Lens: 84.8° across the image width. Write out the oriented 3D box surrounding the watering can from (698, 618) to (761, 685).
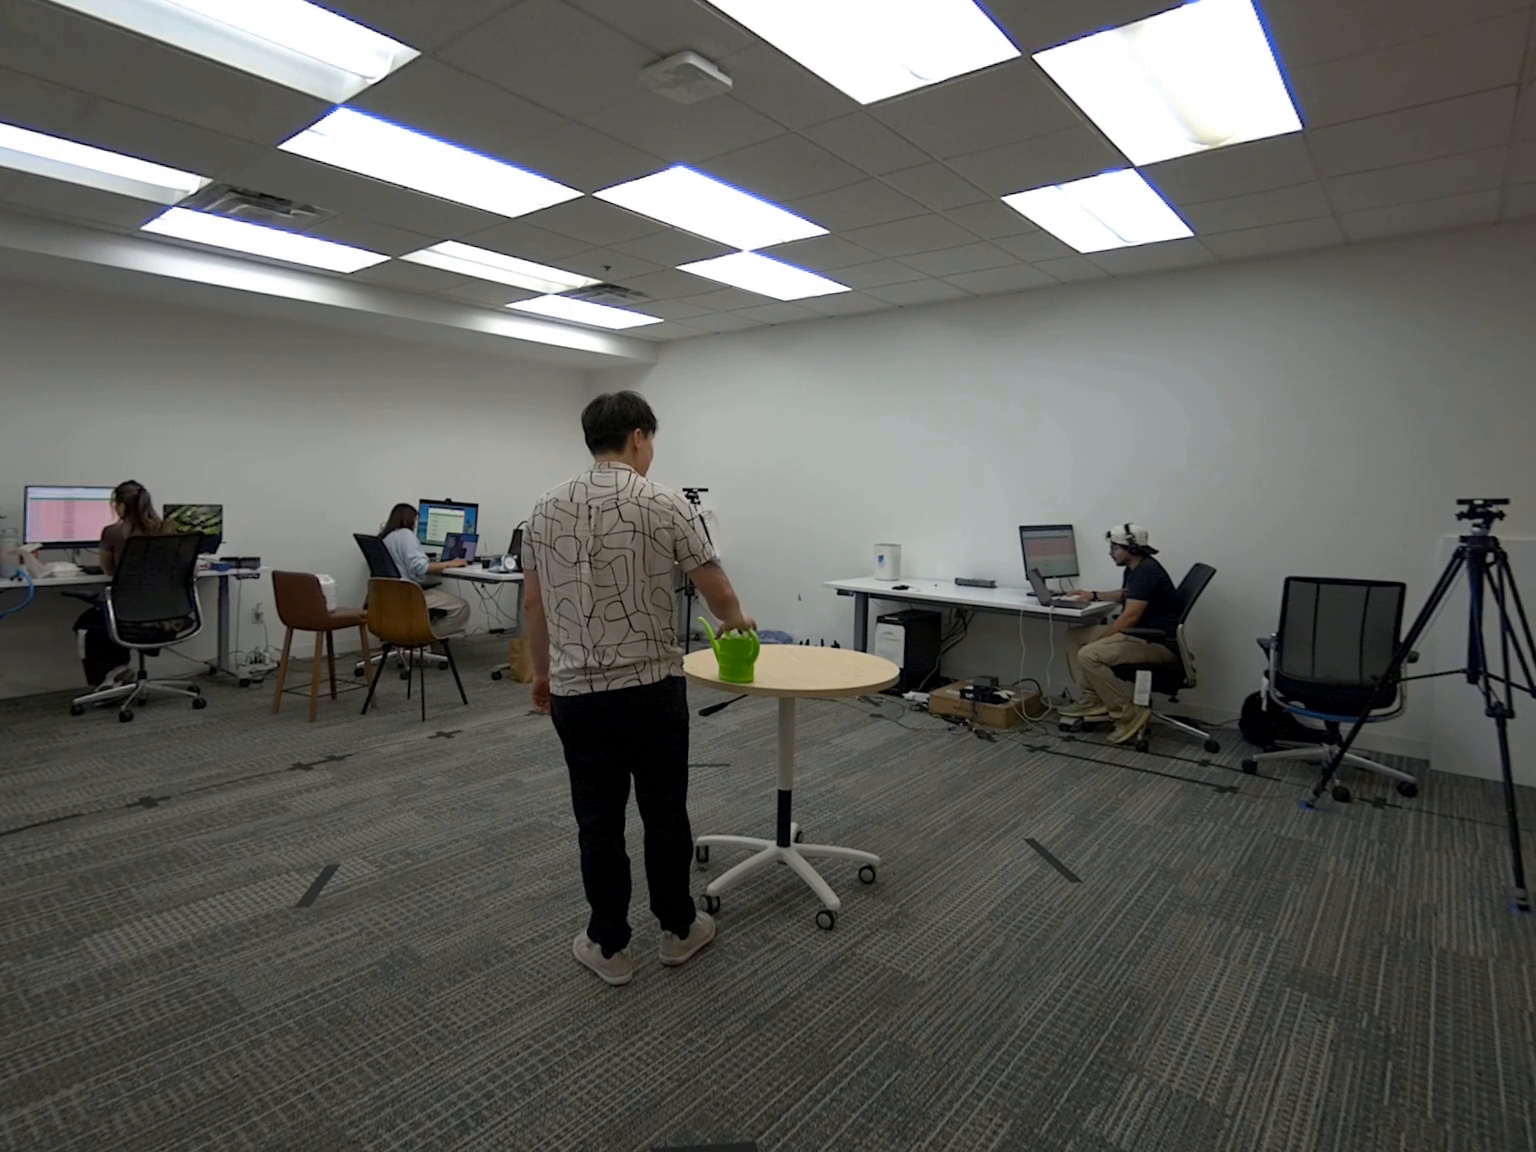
[{"bbox_3d":[-0.134,0.237,2.753,0.095,0.176,0.287,5,3,-34],"label":"watering can"}]
